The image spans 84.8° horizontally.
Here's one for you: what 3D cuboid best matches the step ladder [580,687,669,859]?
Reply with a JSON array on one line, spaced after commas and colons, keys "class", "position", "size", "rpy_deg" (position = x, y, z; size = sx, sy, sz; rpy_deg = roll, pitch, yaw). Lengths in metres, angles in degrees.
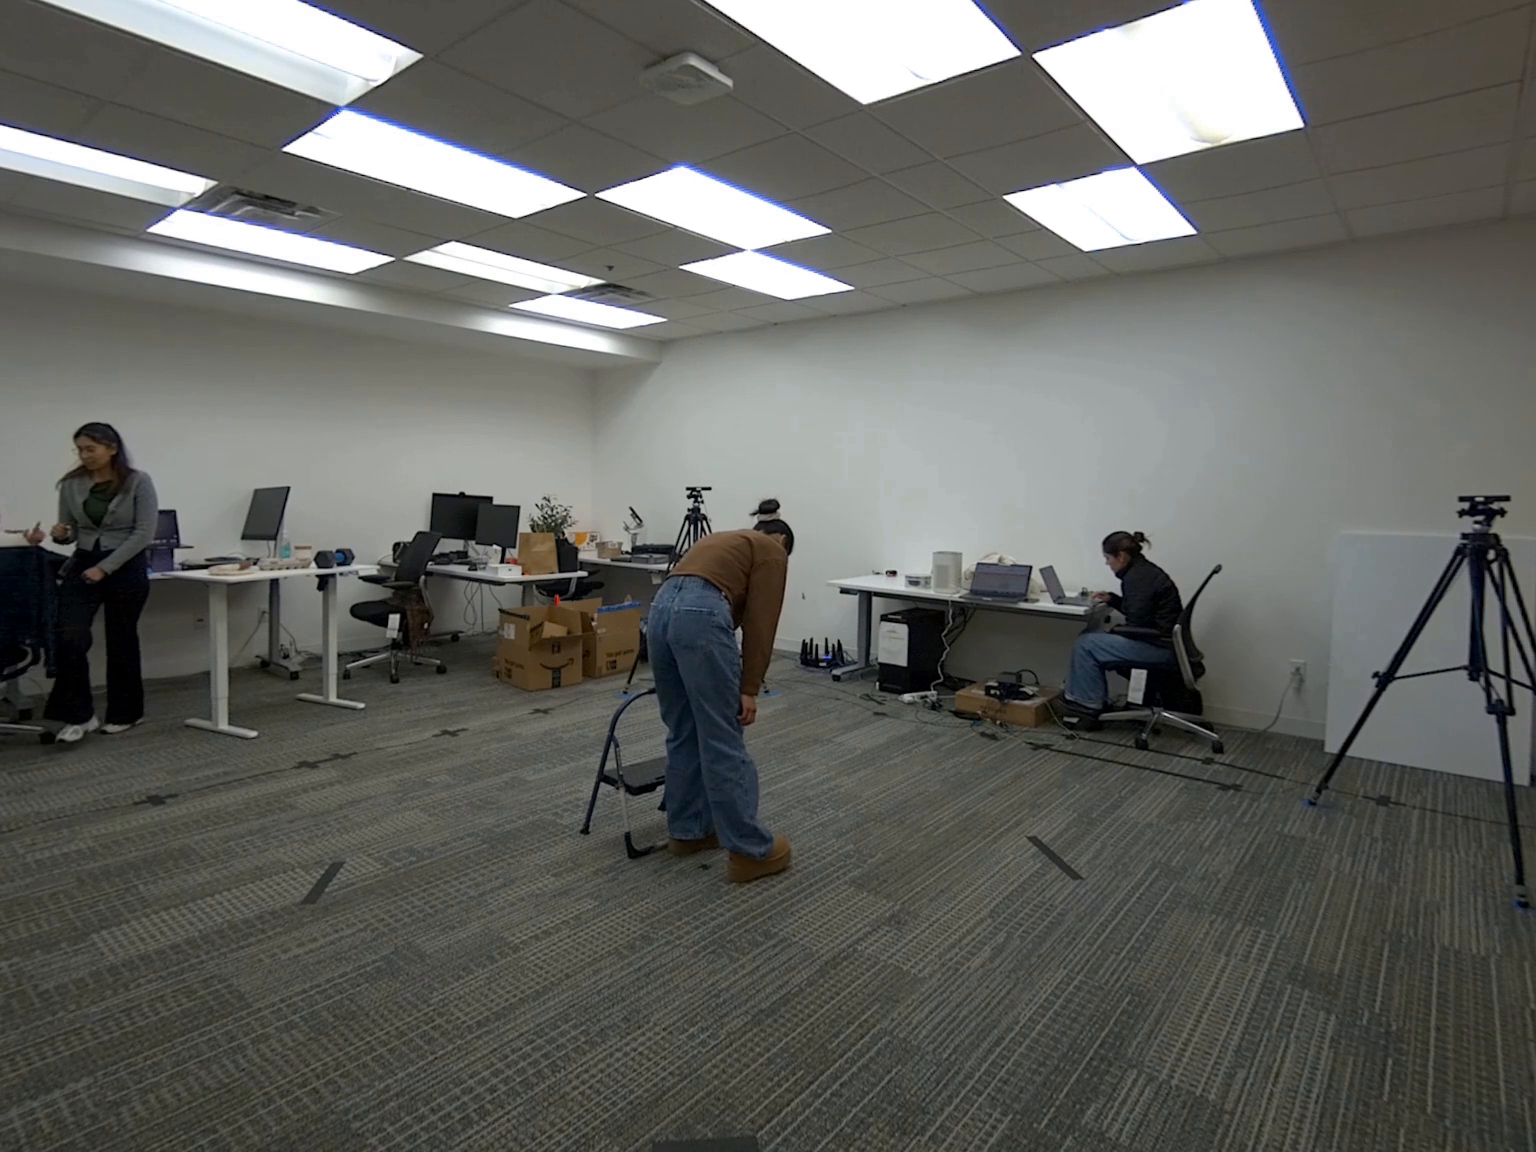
[{"class": "step ladder", "position": [-0.496, 0.726, 3.416], "size": [0.417, 0.604, 0.361], "rpy_deg": [-2, 5, -44]}]
